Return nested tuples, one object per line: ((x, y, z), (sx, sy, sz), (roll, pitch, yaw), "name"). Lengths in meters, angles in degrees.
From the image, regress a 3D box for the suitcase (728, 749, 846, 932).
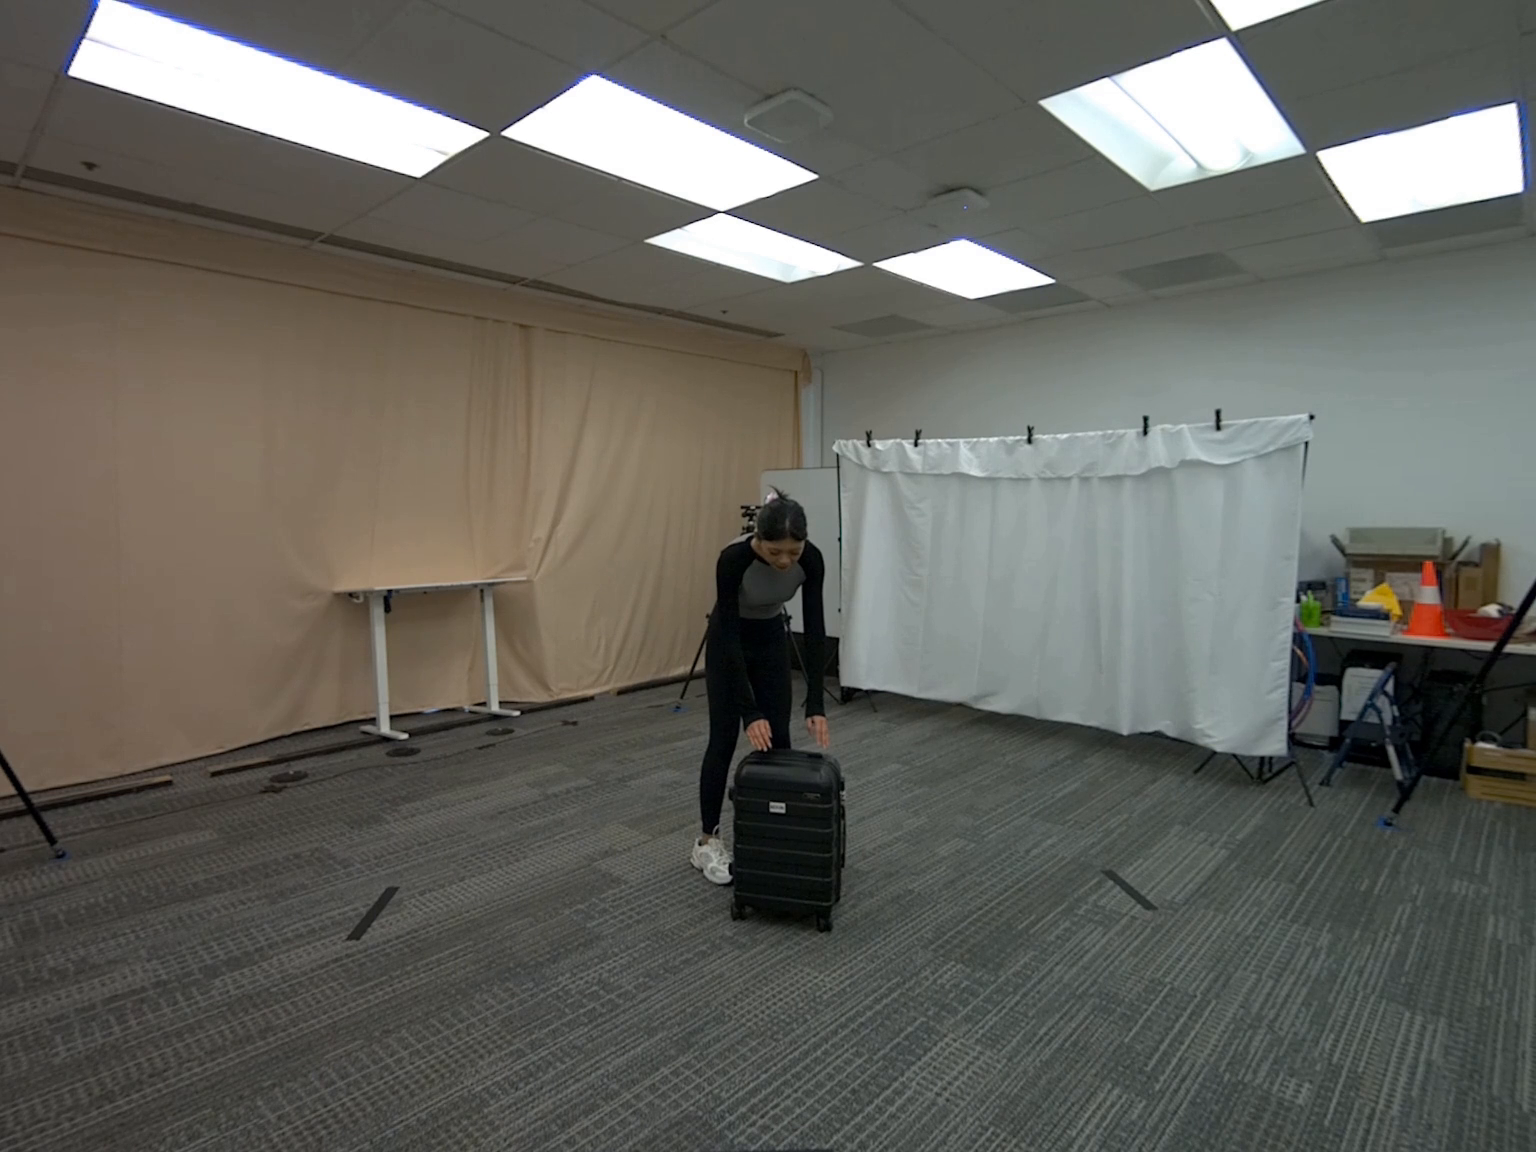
((0.075, 0.876, 2.866), (0.382, 0.548, 0.244), (1, 4, 16), "suitcase")
